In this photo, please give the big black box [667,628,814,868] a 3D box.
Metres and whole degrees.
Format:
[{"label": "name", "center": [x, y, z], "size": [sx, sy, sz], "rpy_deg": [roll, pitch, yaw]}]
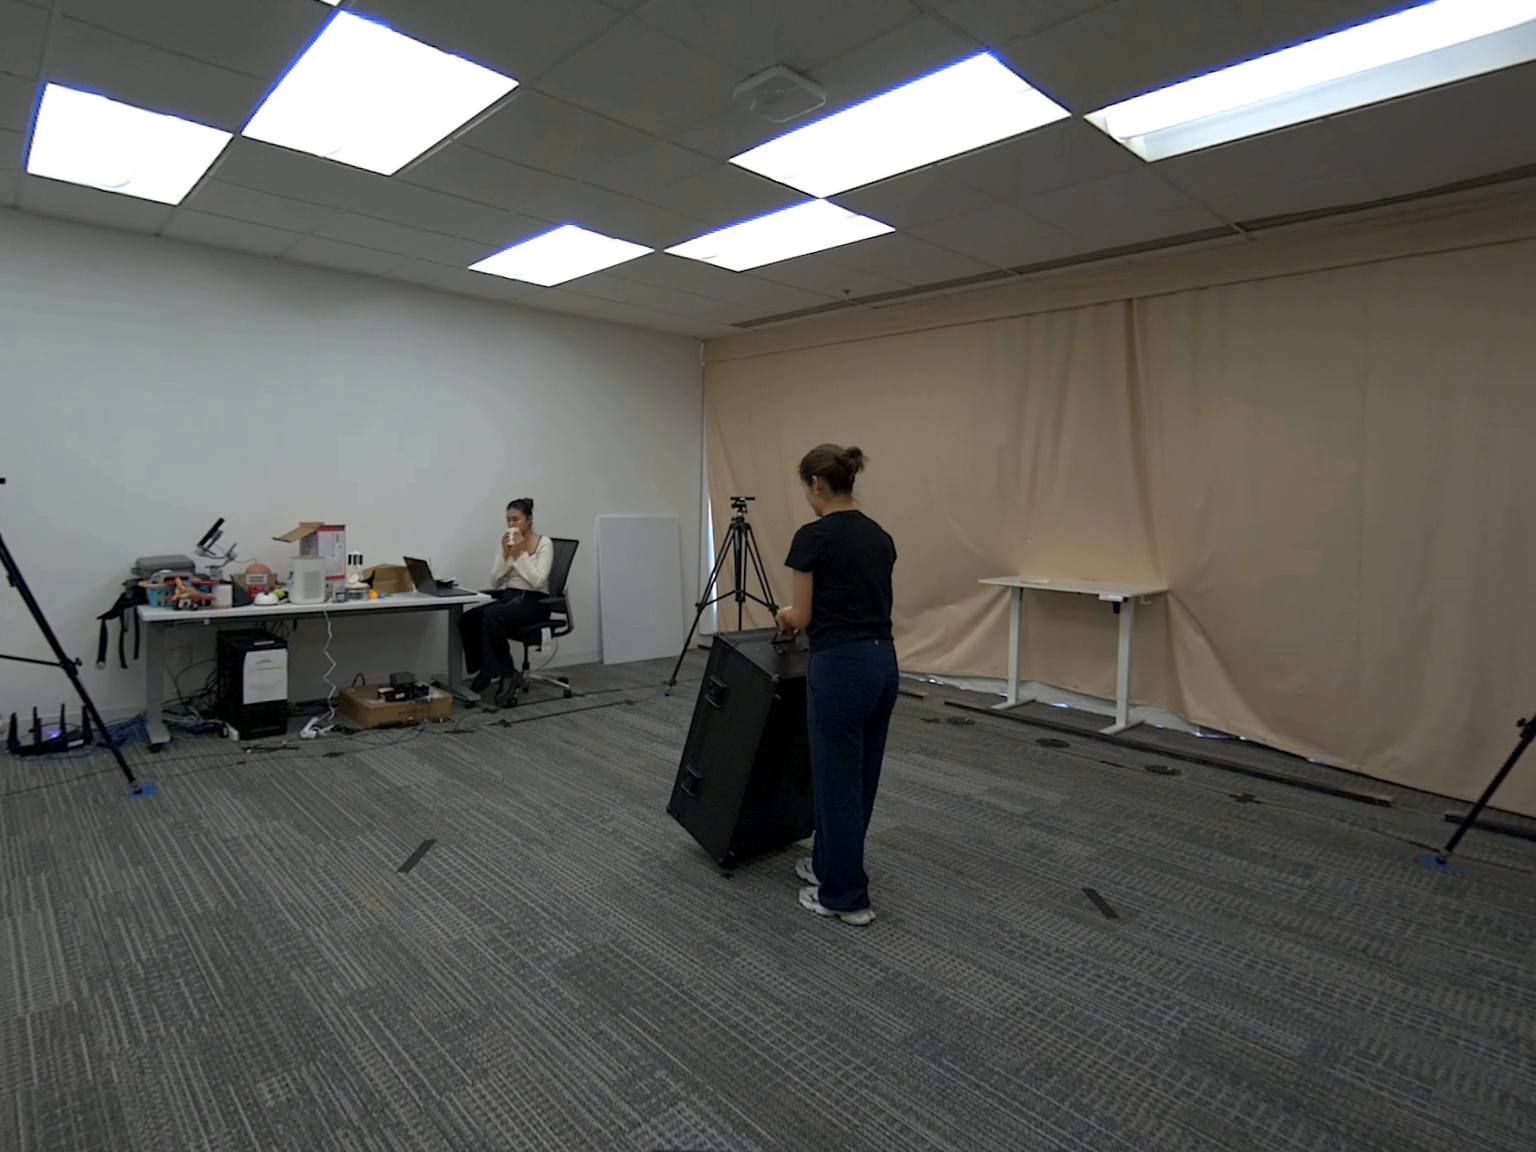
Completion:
[{"label": "big black box", "center": [-0.017, 0.664, 3.218], "size": [0.509, 0.854, 0.409], "rpy_deg": [-1, 24, -44]}]
